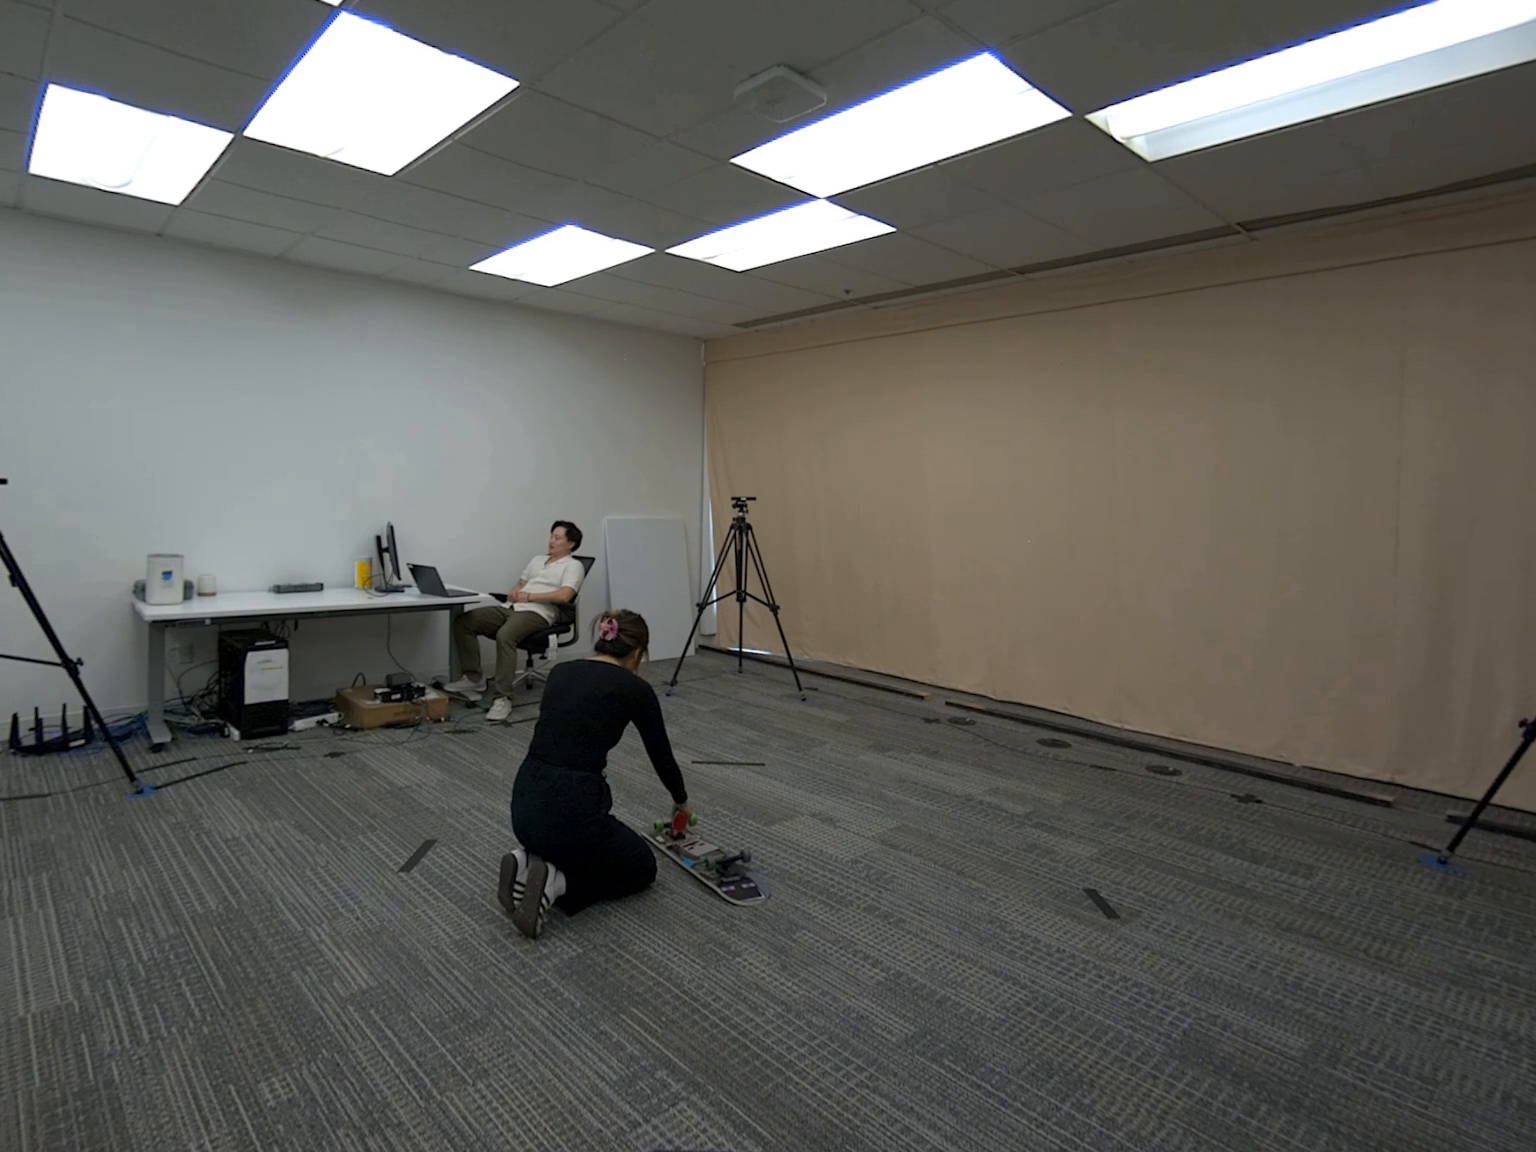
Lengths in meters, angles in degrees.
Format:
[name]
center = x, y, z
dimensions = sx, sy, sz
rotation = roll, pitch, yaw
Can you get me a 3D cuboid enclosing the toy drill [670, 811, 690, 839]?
[toy drill]
center = -0.354, 0.960, 3.290
dimensions = 0.061, 0.169, 0.147
rotation = 15, 10, -6
